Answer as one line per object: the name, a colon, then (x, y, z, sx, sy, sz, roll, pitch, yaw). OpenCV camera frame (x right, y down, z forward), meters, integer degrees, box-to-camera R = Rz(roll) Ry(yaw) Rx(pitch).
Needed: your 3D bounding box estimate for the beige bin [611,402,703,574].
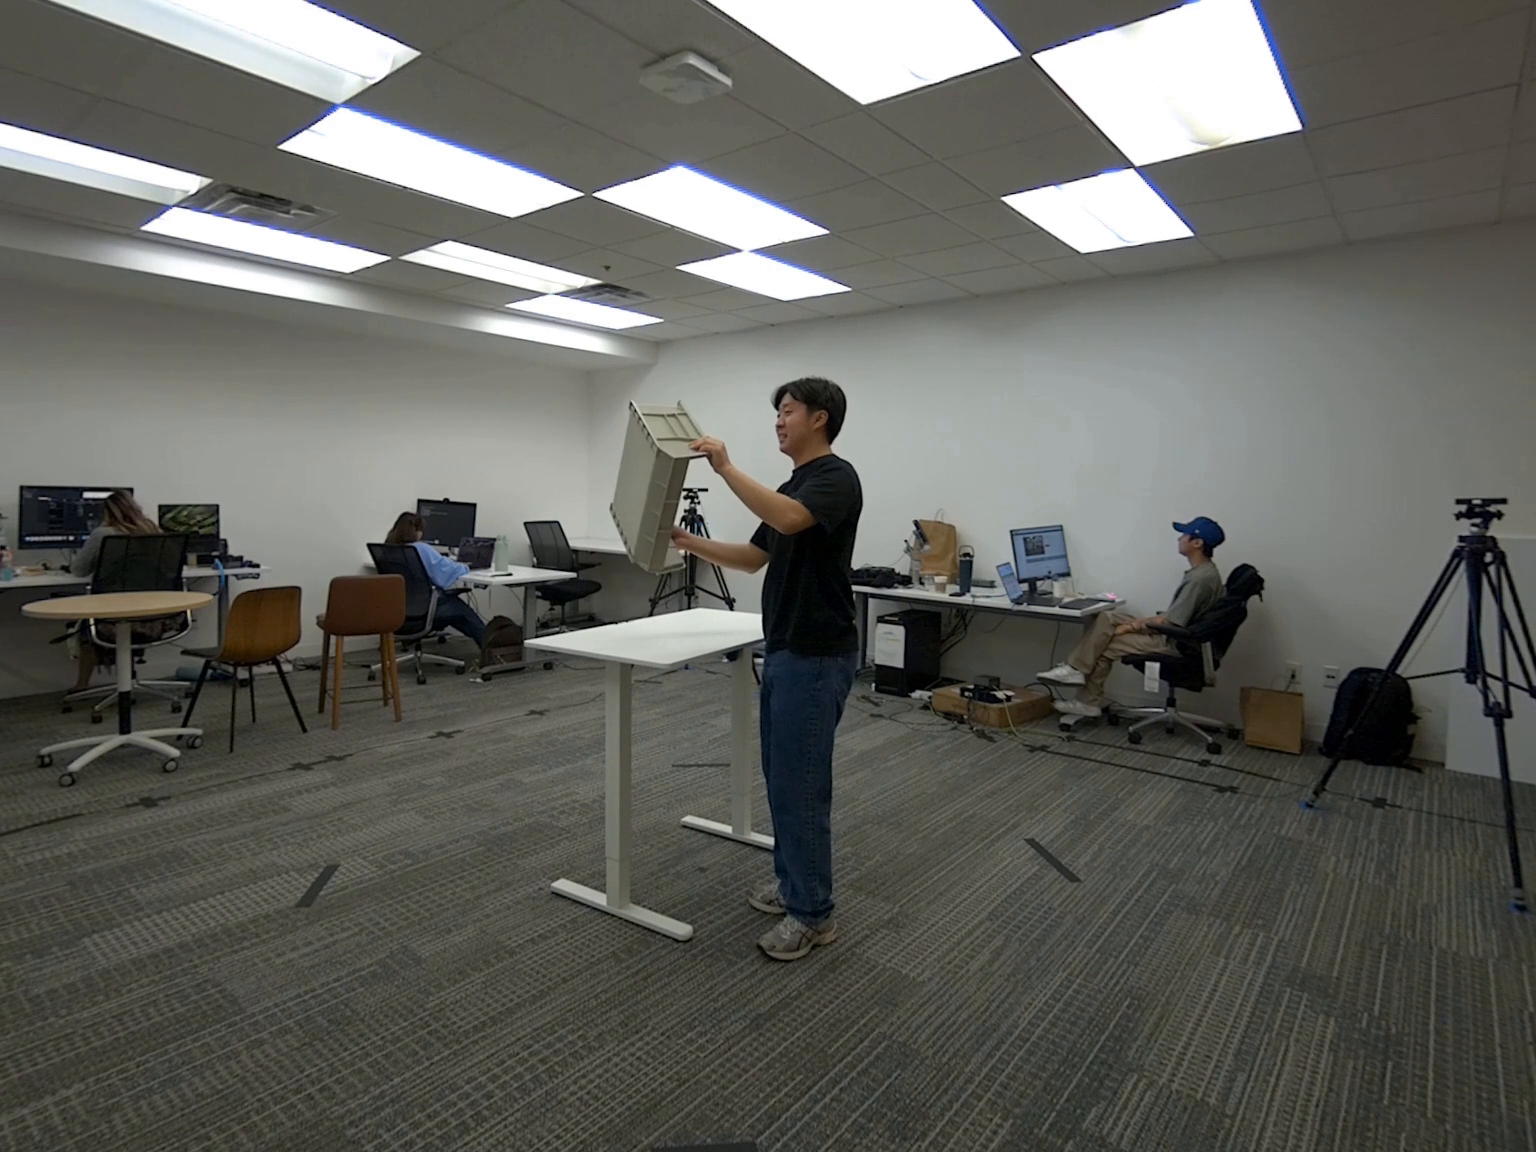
beige bin: (-0.353, -0.290, 2.691, 0.184, 0.415, 0.393, 1, 35, -26)
